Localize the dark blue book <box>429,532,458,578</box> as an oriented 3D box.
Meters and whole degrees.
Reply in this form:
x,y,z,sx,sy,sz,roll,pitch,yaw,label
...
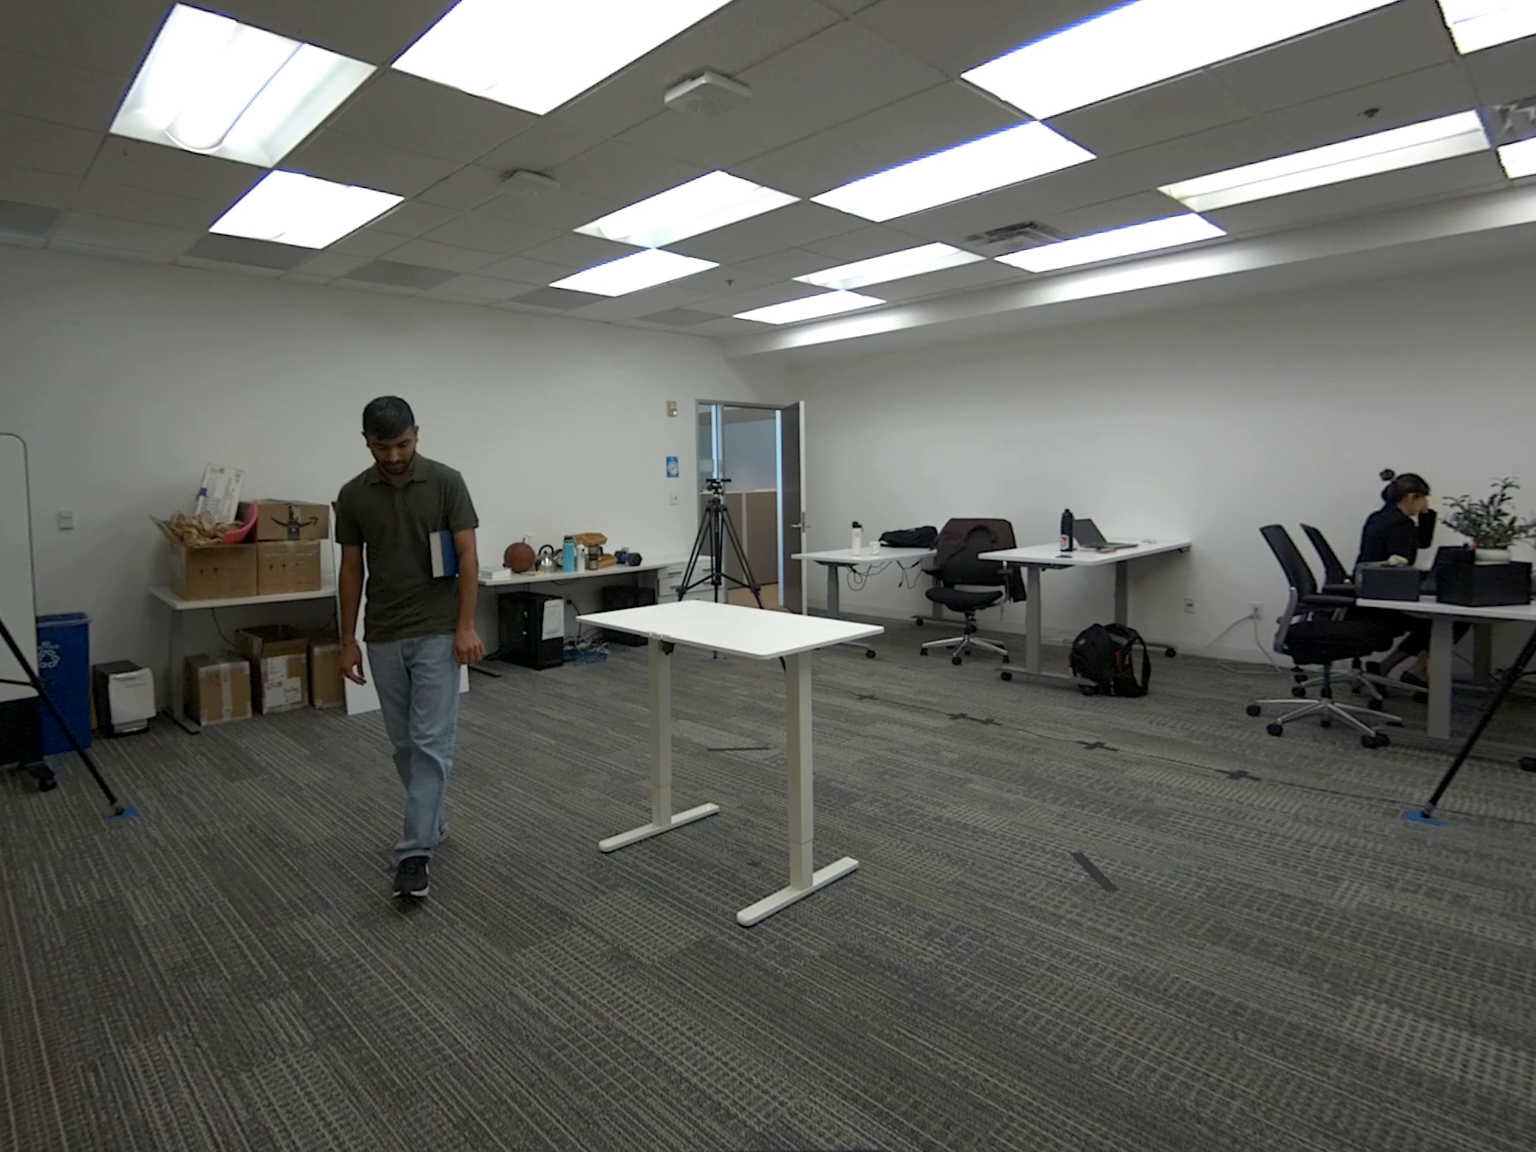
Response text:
x,y,z,sx,sy,sz,roll,pitch,yaw,label
-1.195,-0.076,3.110,0.045,0.163,0.246,-5,4,-1,dark blue book
